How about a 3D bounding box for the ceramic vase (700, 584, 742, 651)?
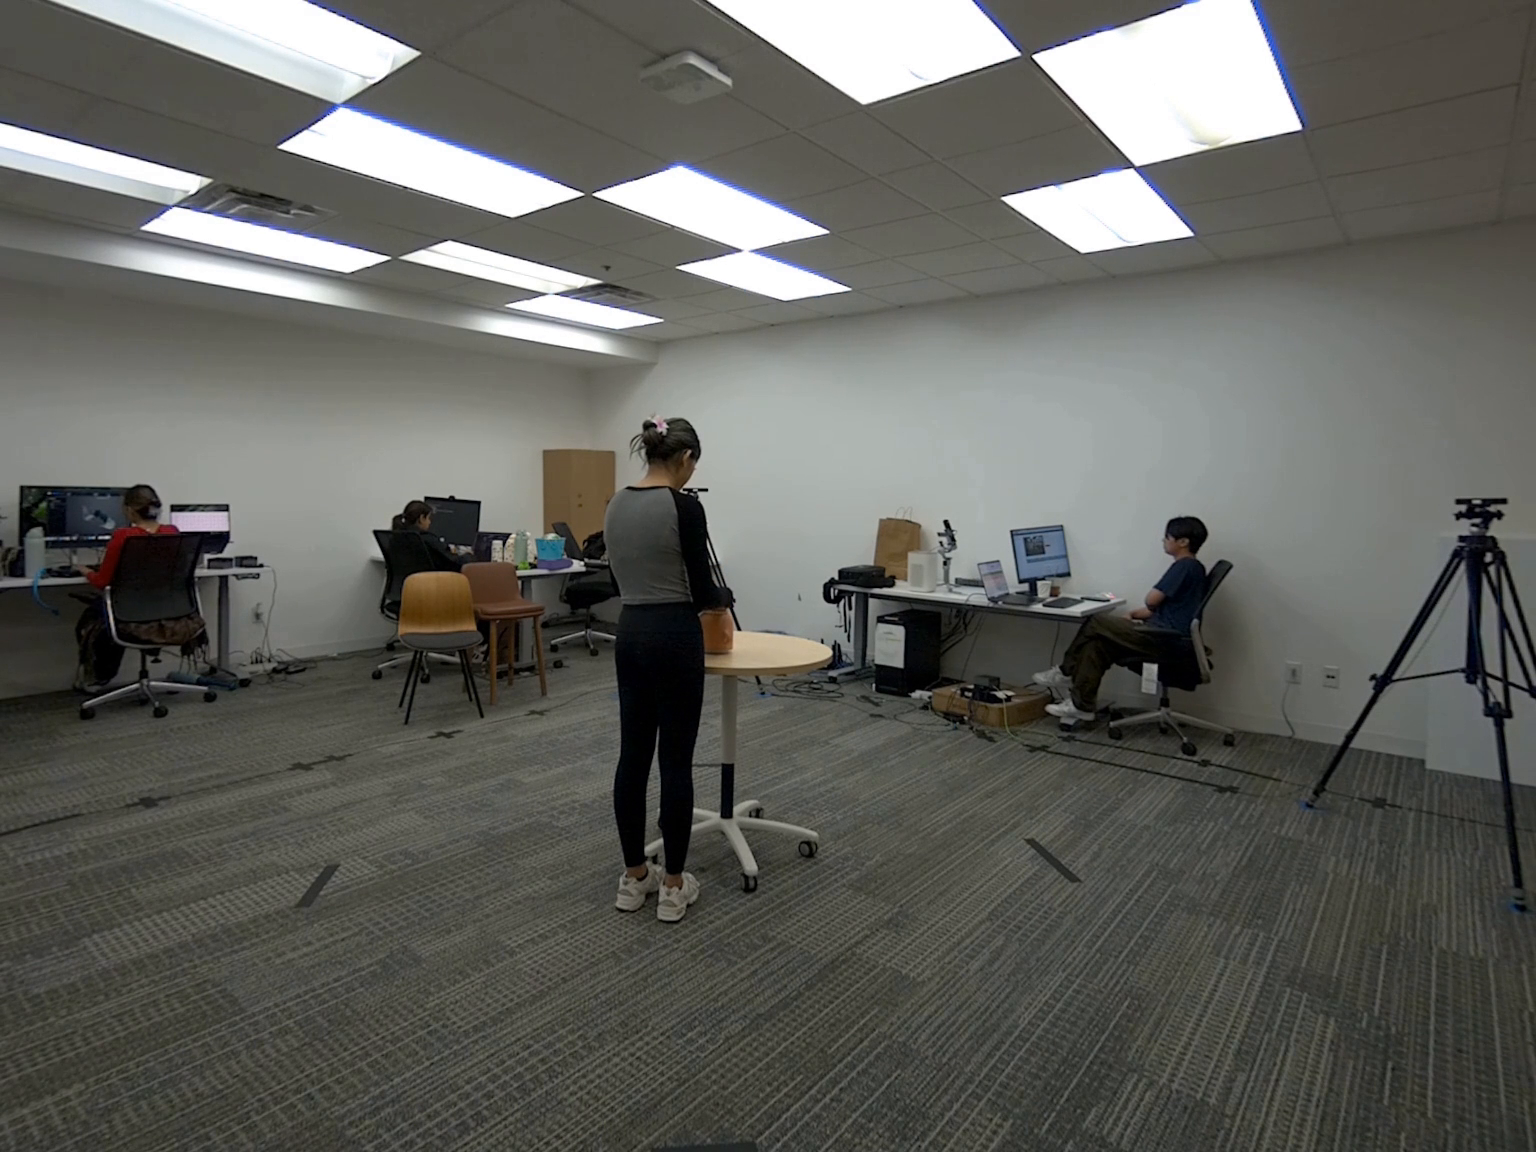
[{"bbox_3d":[-0.210,0.151,3.112,0.162,0.219,0.132,-5,4,23],"label":"ceramic vase"}]
